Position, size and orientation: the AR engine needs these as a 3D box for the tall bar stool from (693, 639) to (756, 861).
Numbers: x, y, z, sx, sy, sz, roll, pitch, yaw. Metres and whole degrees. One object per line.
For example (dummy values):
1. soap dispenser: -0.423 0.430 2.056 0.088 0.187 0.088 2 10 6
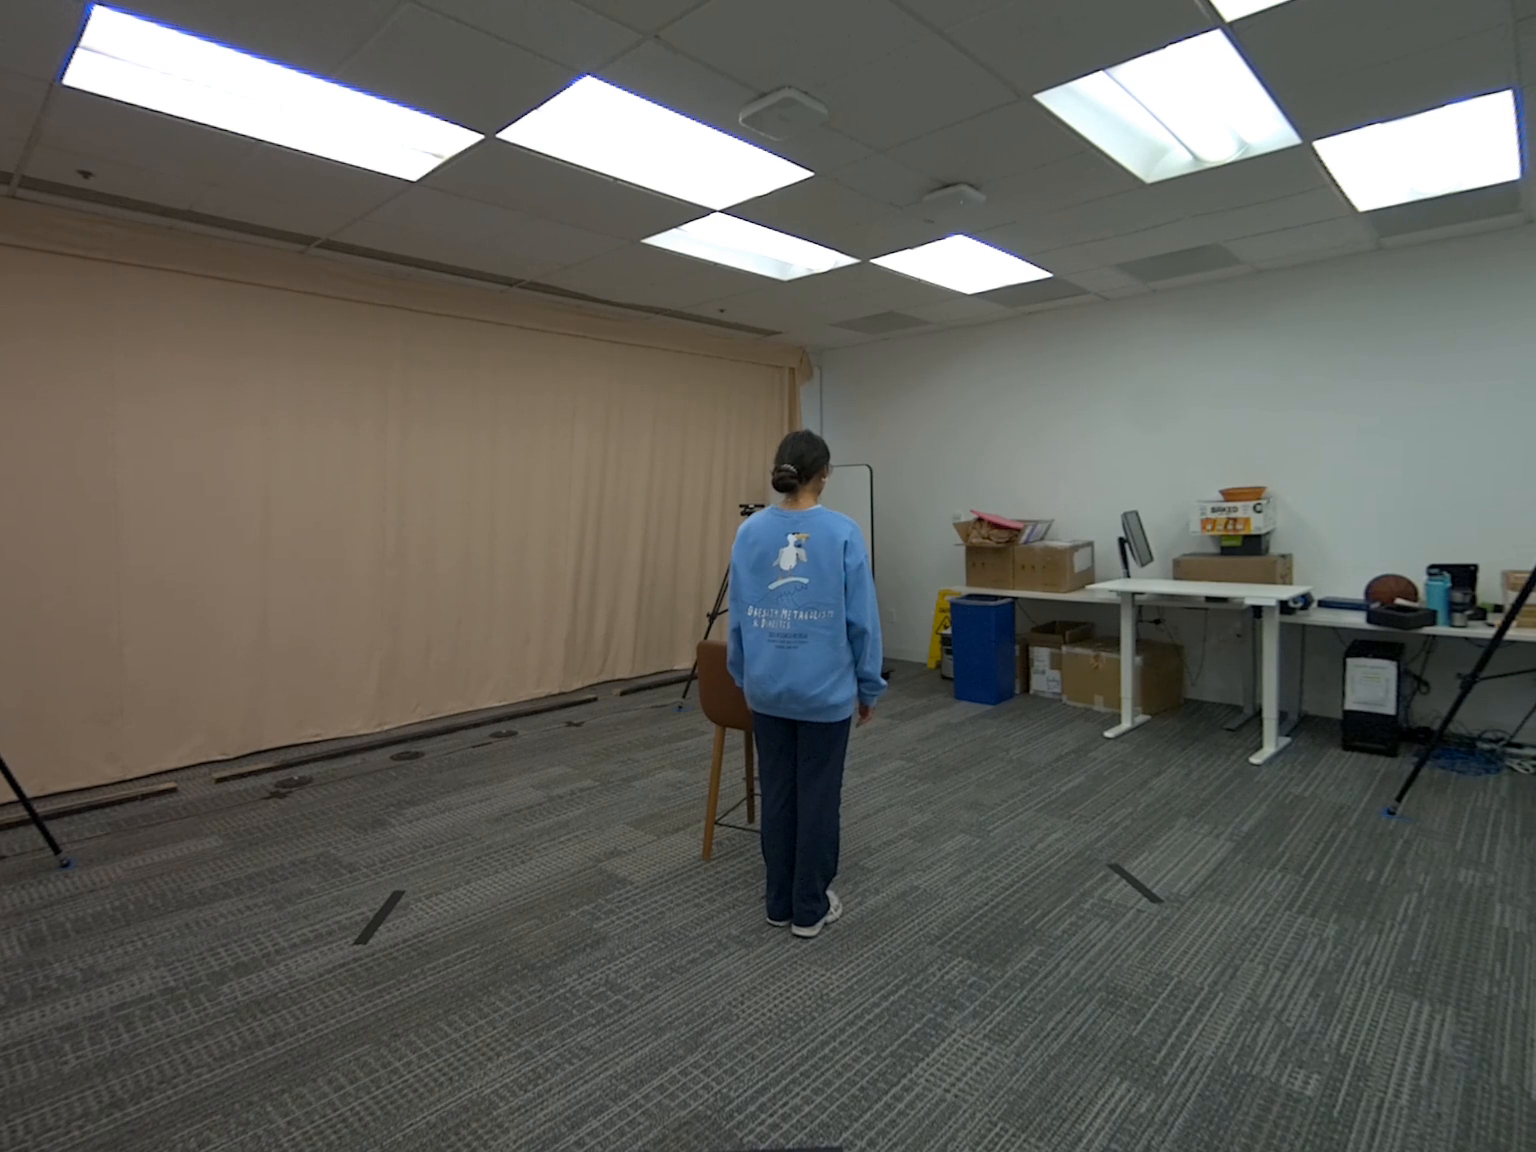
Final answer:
1. tall bar stool: -0.011 0.667 3.383 0.469 0.887 0.456 1 5 28
